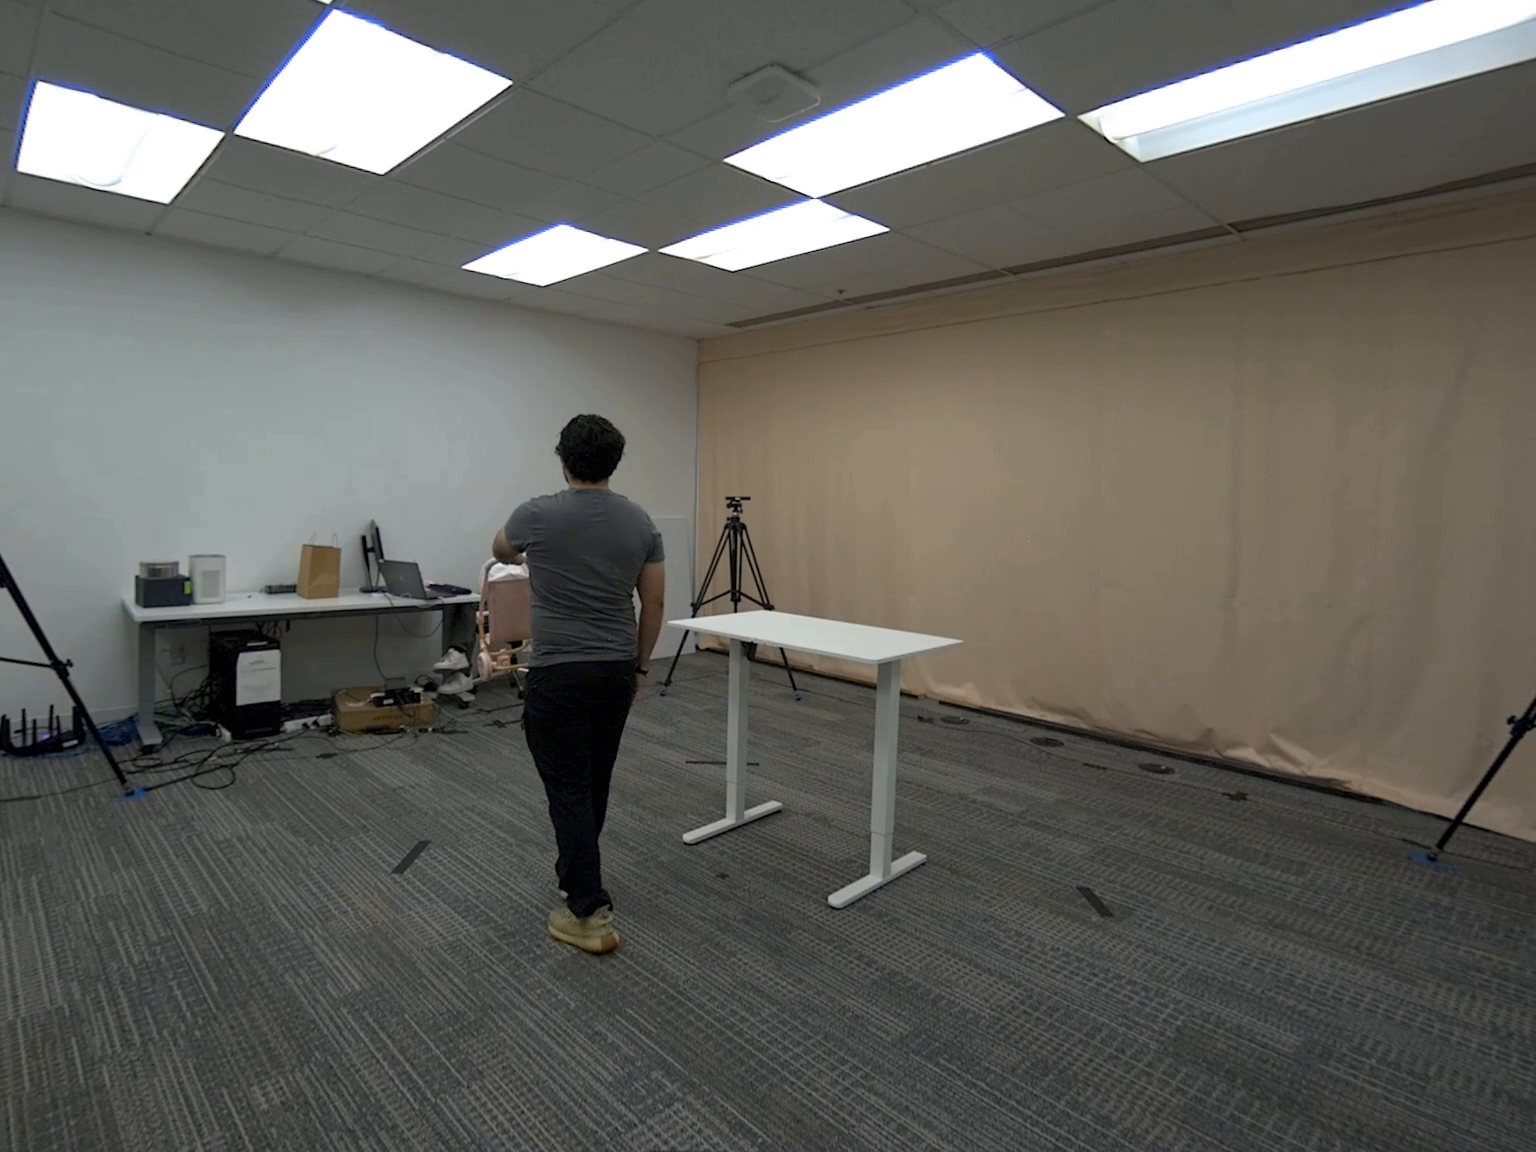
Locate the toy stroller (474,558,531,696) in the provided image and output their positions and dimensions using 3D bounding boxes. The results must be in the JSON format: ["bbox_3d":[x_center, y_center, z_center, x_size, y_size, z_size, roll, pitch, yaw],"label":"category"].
[{"bbox_3d":[-1.021,0.156,3.299,0.277,0.531,0.349,-5,11,-25],"label":"toy stroller"}]
